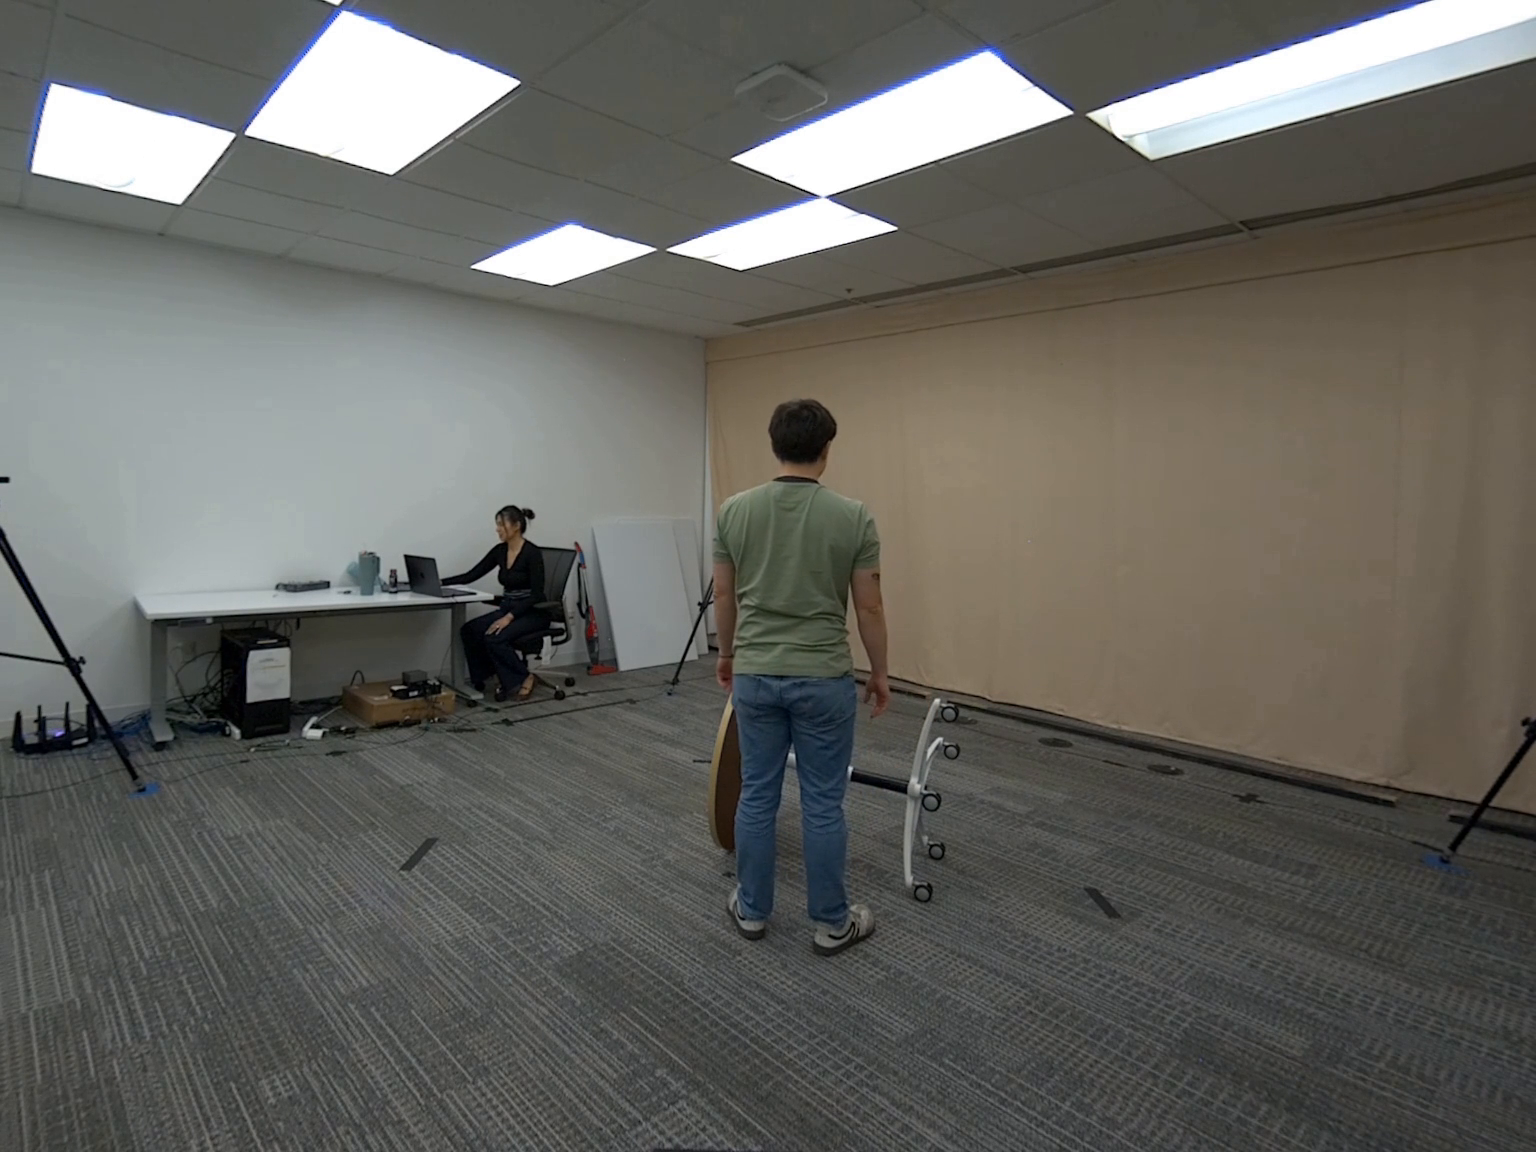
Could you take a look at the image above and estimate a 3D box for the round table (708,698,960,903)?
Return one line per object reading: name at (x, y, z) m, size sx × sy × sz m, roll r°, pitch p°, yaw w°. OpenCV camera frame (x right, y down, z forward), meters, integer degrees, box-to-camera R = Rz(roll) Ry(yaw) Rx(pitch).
round table at (0.280, 0.758, 3.235) m, size 0.807 × 0.761 × 0.754 m, roll 8°, pitch 6°, yaw 19°
